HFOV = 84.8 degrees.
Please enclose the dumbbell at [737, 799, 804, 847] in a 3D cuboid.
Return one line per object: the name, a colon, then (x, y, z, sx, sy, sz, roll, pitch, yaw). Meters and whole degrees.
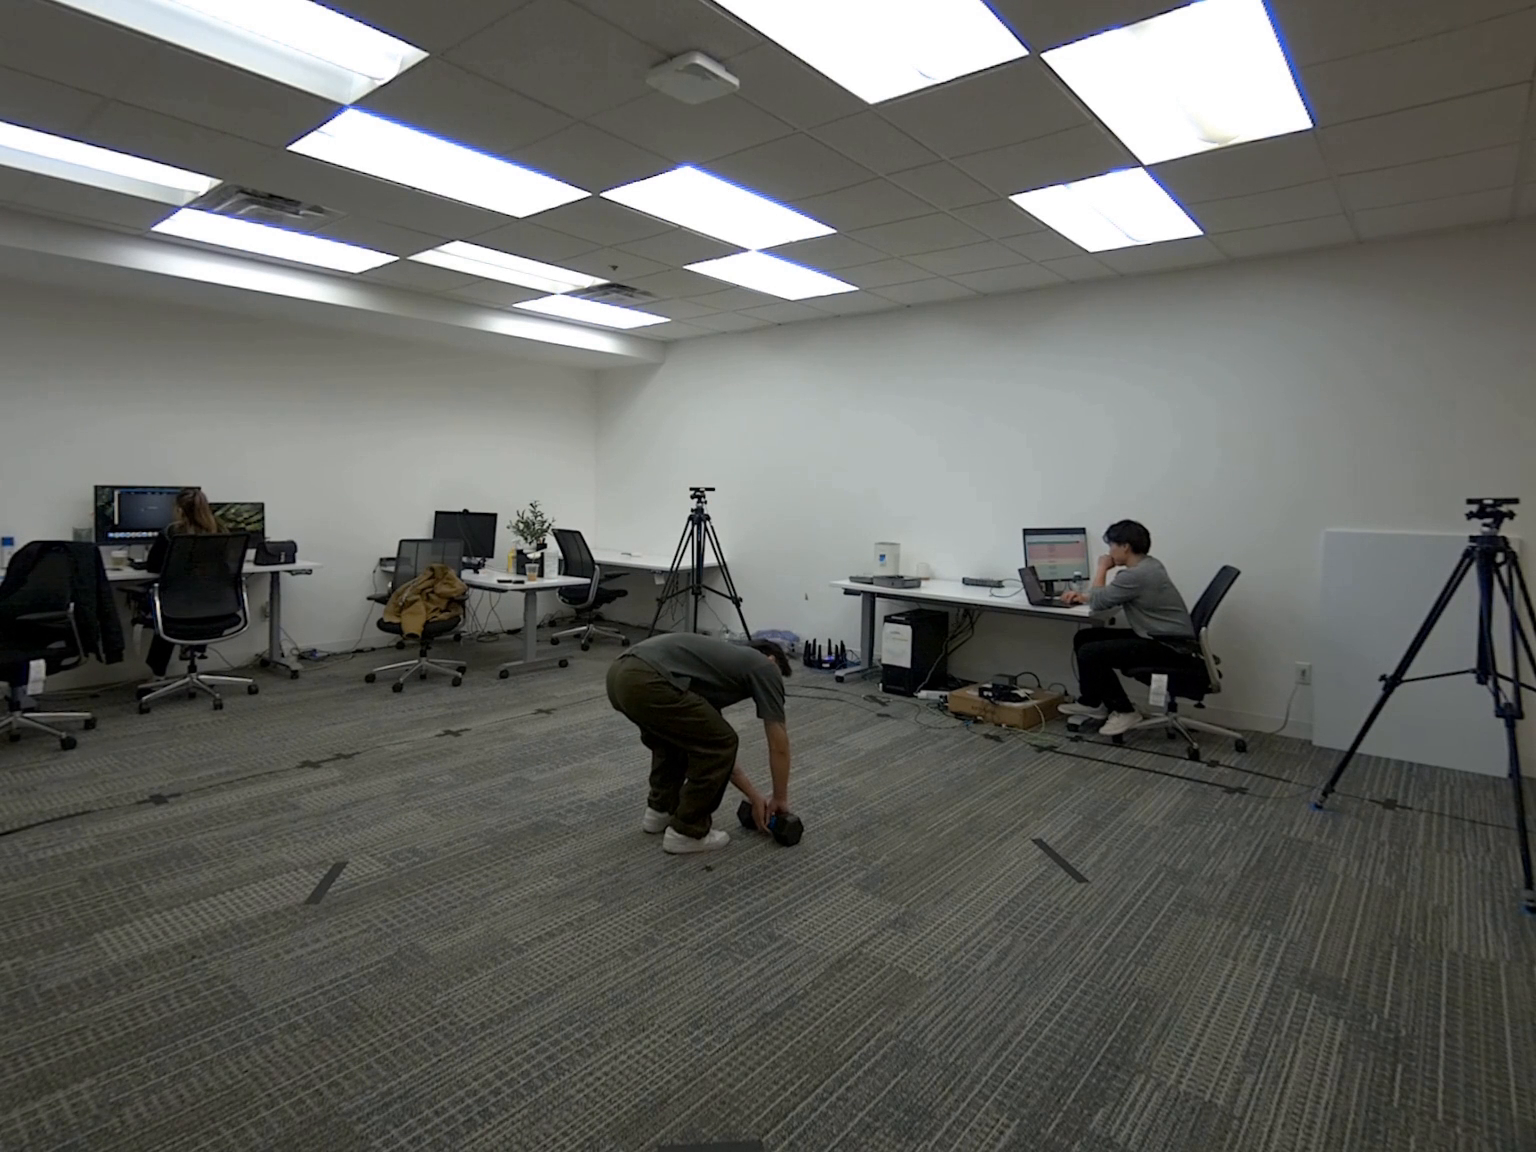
dumbbell: (-0.003, 0.989, 3.431, 0.304, 0.124, 0.104, 7, -23, 49)
